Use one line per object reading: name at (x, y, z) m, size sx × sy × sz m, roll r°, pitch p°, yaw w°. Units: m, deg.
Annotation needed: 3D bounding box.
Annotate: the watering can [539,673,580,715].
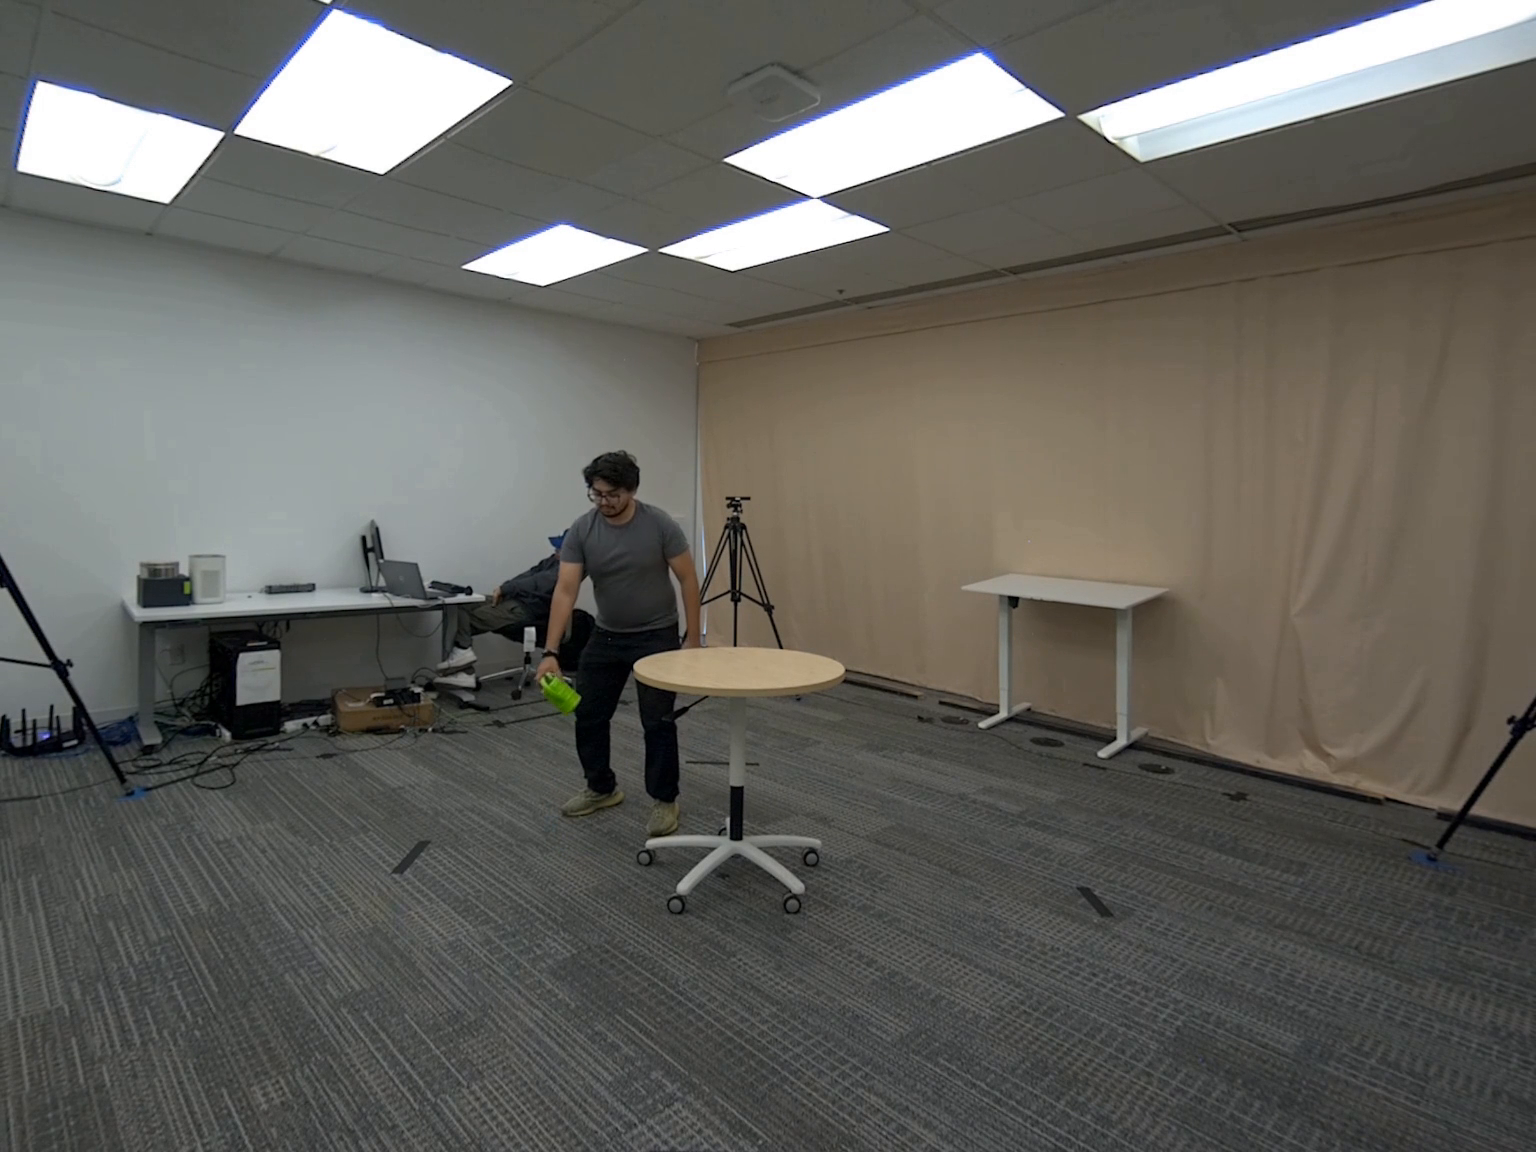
watering can at (-0.842, 0.455, 3.379) m, size 0.175 × 0.098 × 0.281 m, roll 45°, pitch 7°, yaw -9°
